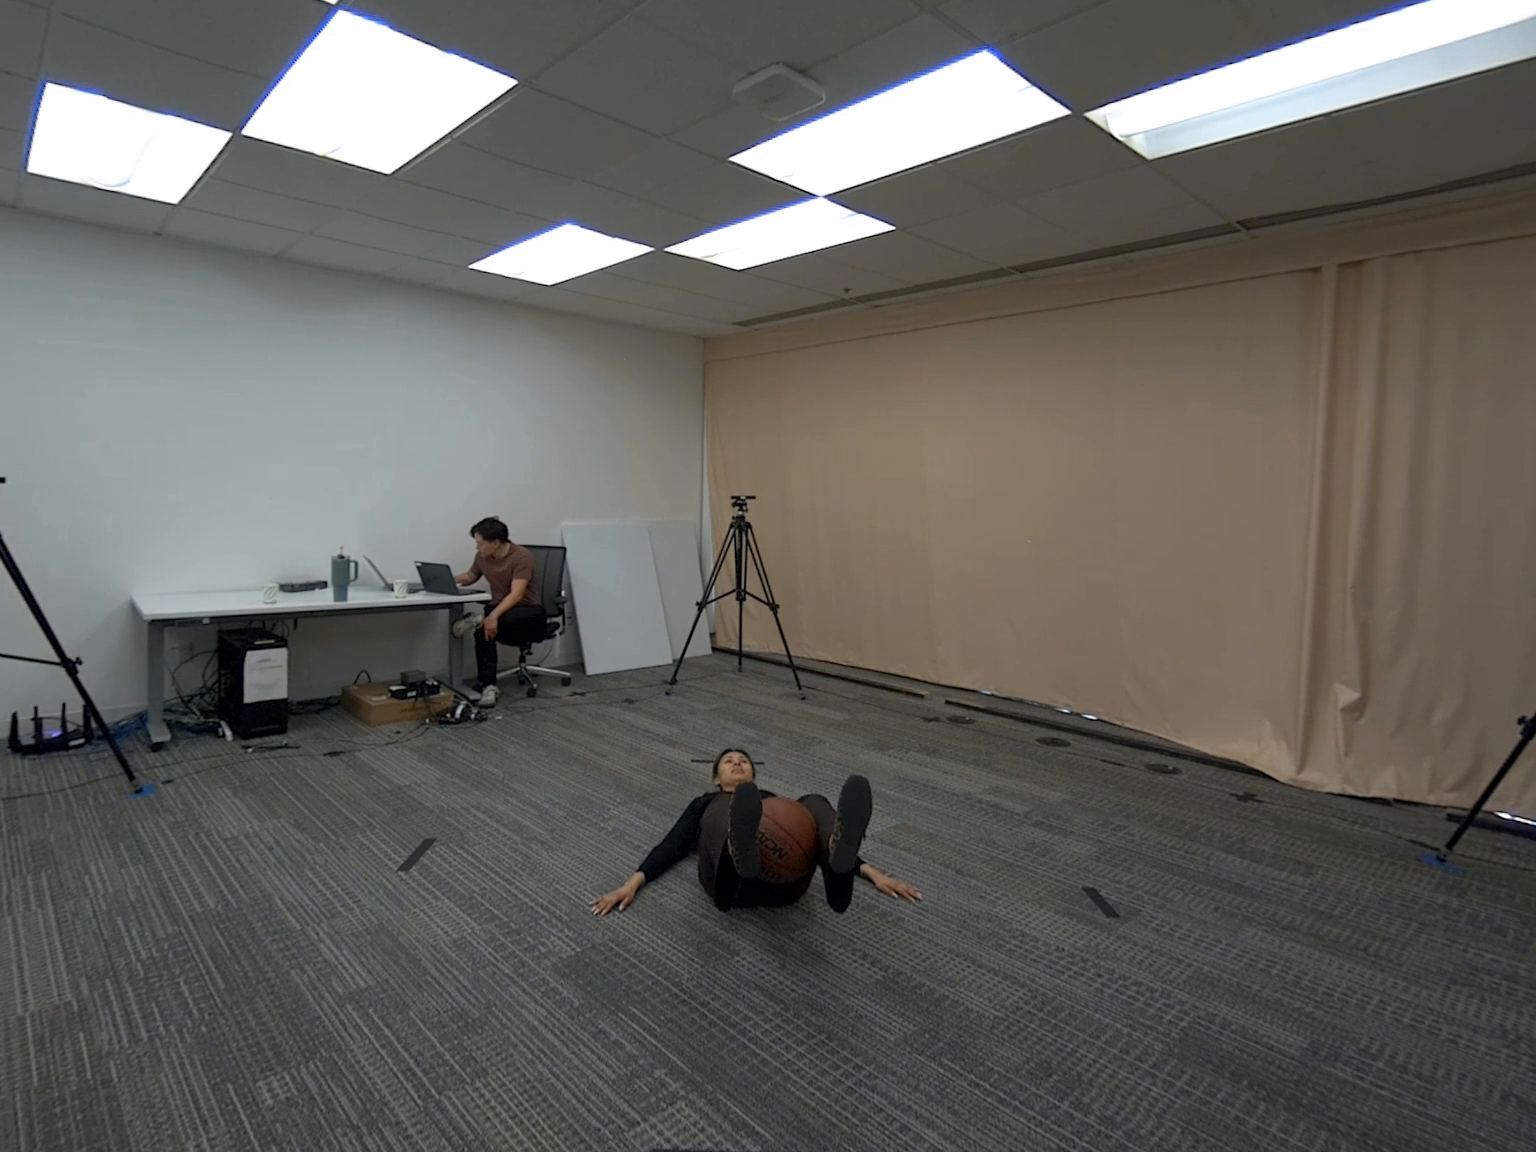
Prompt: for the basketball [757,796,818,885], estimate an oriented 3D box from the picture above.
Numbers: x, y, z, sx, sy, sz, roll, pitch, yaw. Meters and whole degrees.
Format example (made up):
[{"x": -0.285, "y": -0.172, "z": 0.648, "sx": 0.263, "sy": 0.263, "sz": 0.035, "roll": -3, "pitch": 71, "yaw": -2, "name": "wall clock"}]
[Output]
[{"x": 0.027, "y": 0.769, "z": 2.429, "sx": 0.236, "sy": 0.235, "sz": 0.237, "roll": 1, "pitch": 4, "yaw": -1, "name": "basketball"}]
